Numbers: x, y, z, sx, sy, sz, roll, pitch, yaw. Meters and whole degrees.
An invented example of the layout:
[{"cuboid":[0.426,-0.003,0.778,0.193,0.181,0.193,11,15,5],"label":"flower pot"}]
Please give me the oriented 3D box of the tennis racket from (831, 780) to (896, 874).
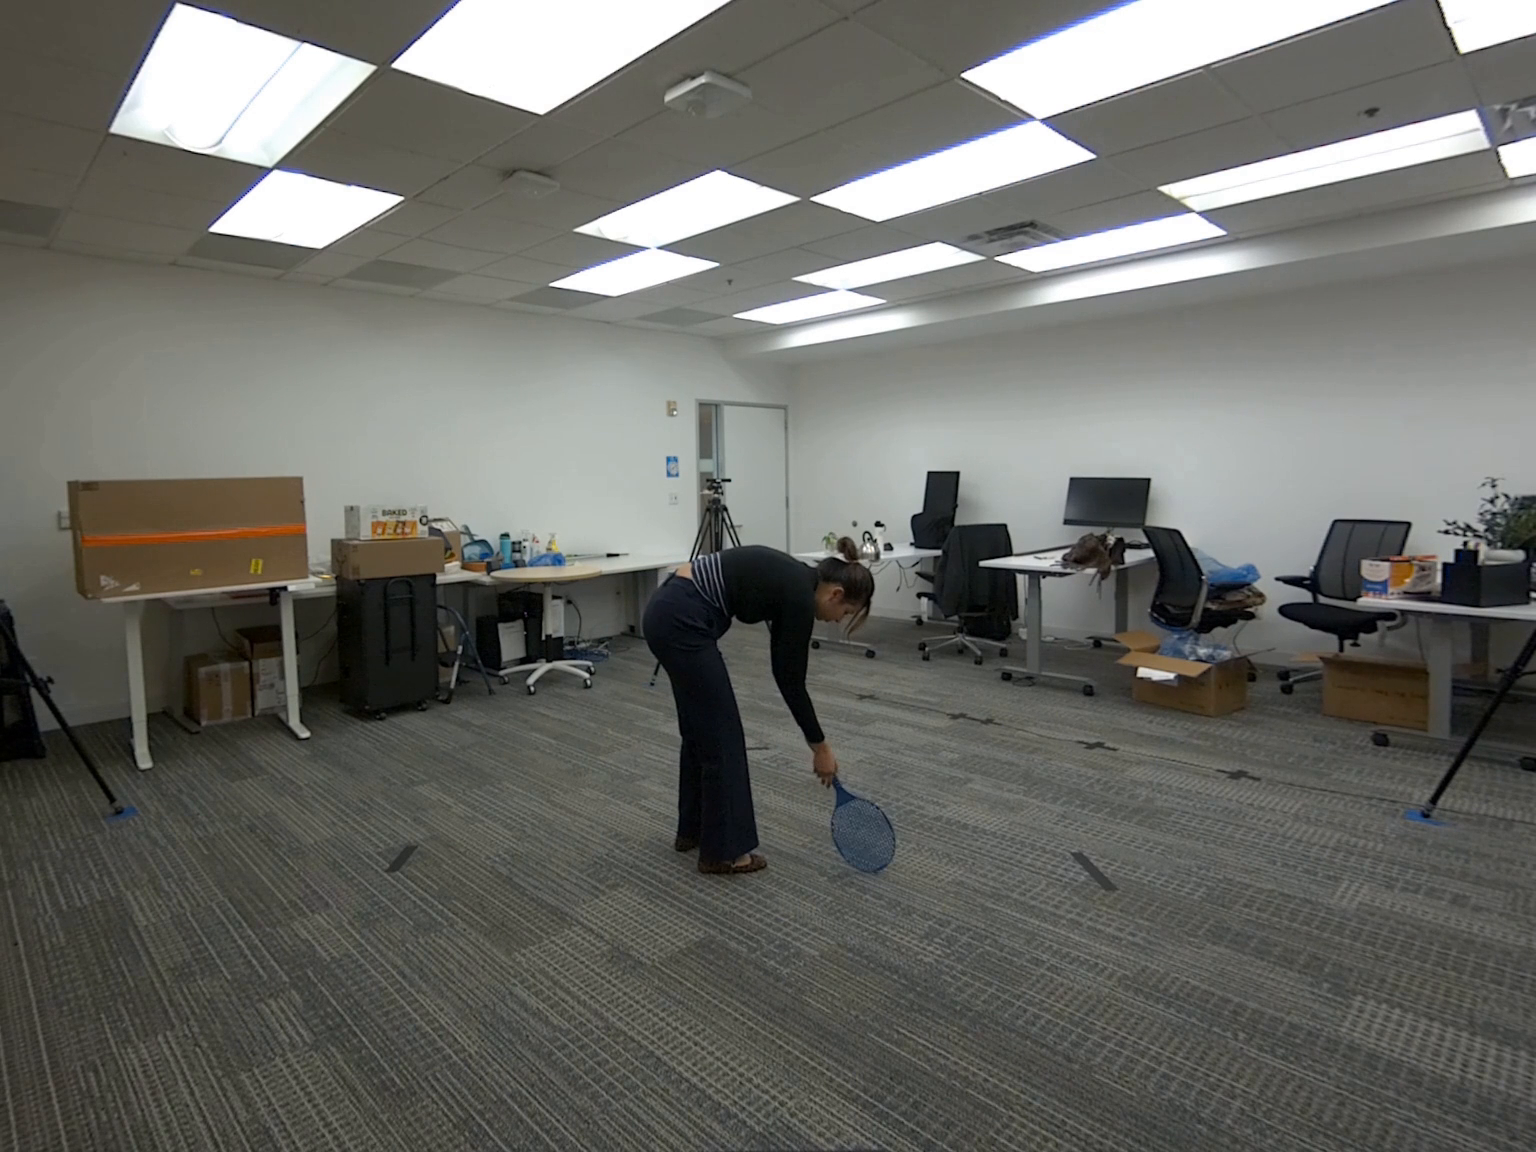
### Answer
[{"cuboid":[0.302,0.840,3.049,0.214,0.438,0.031,-26,-9,7],"label":"tennis racket"}]
